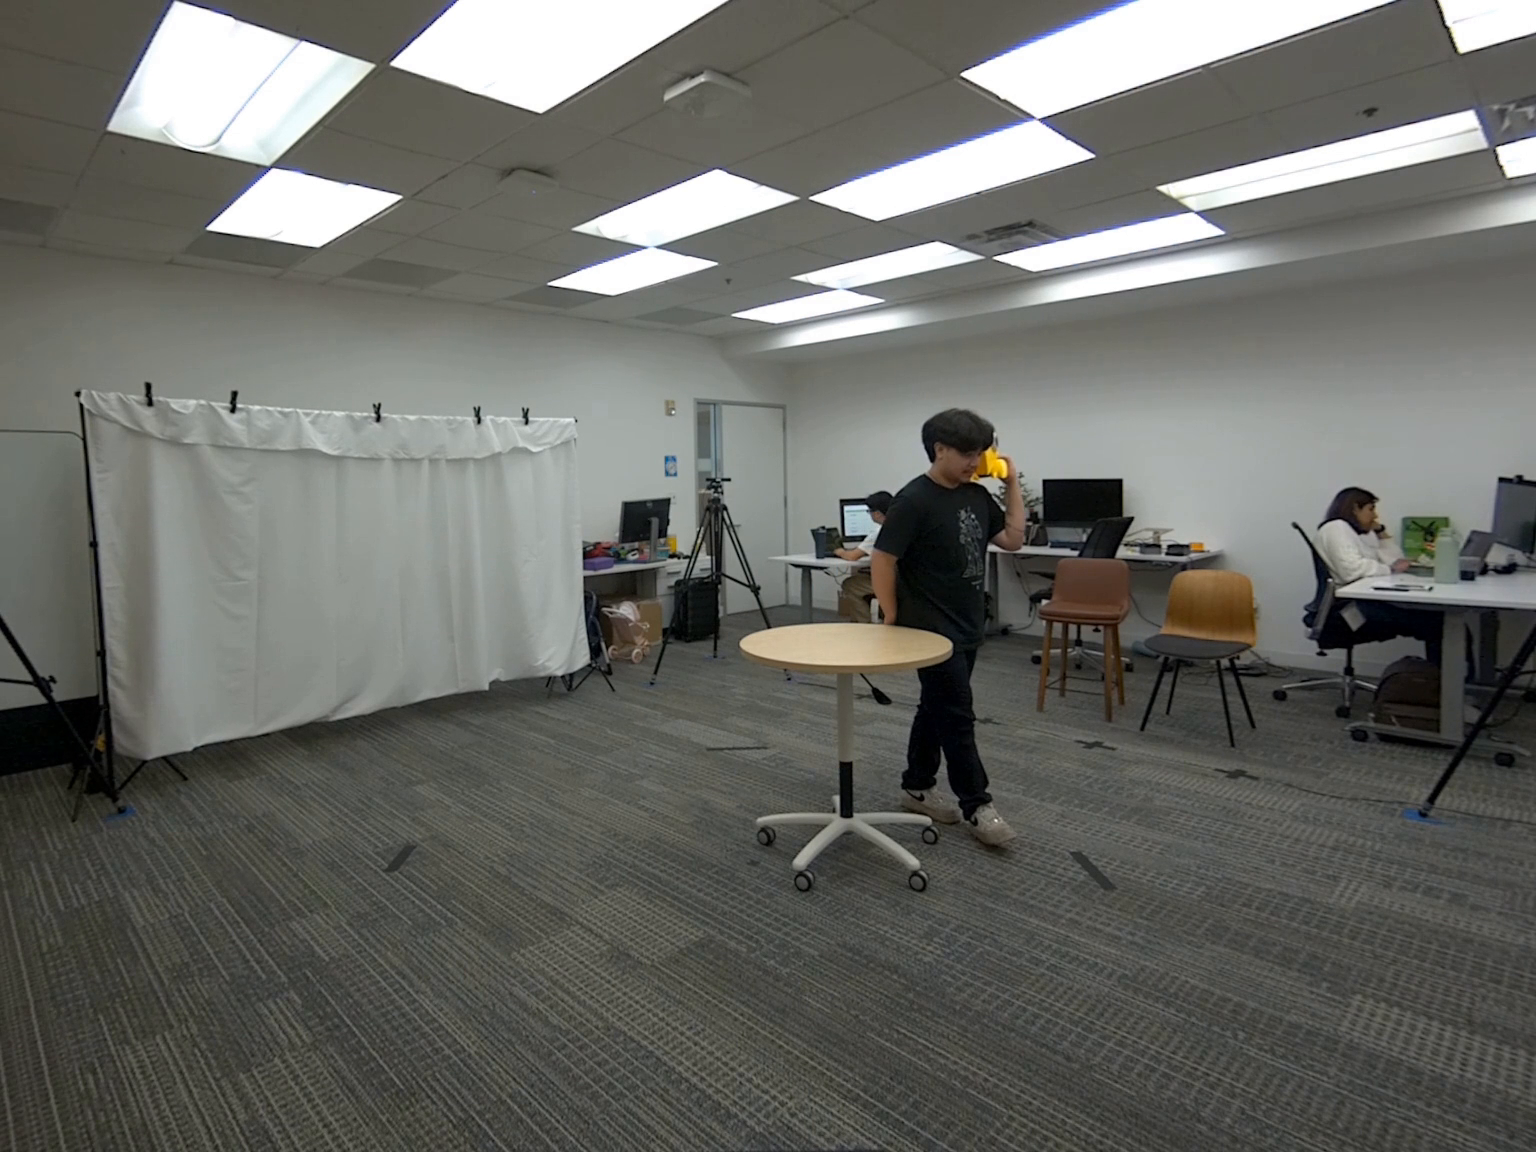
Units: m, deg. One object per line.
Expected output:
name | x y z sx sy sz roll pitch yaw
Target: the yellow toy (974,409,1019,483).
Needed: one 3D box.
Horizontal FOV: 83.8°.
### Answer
yellow toy | 0.856 -0.520 3.416 0.204 0.226 0.197 -7 20 -2
